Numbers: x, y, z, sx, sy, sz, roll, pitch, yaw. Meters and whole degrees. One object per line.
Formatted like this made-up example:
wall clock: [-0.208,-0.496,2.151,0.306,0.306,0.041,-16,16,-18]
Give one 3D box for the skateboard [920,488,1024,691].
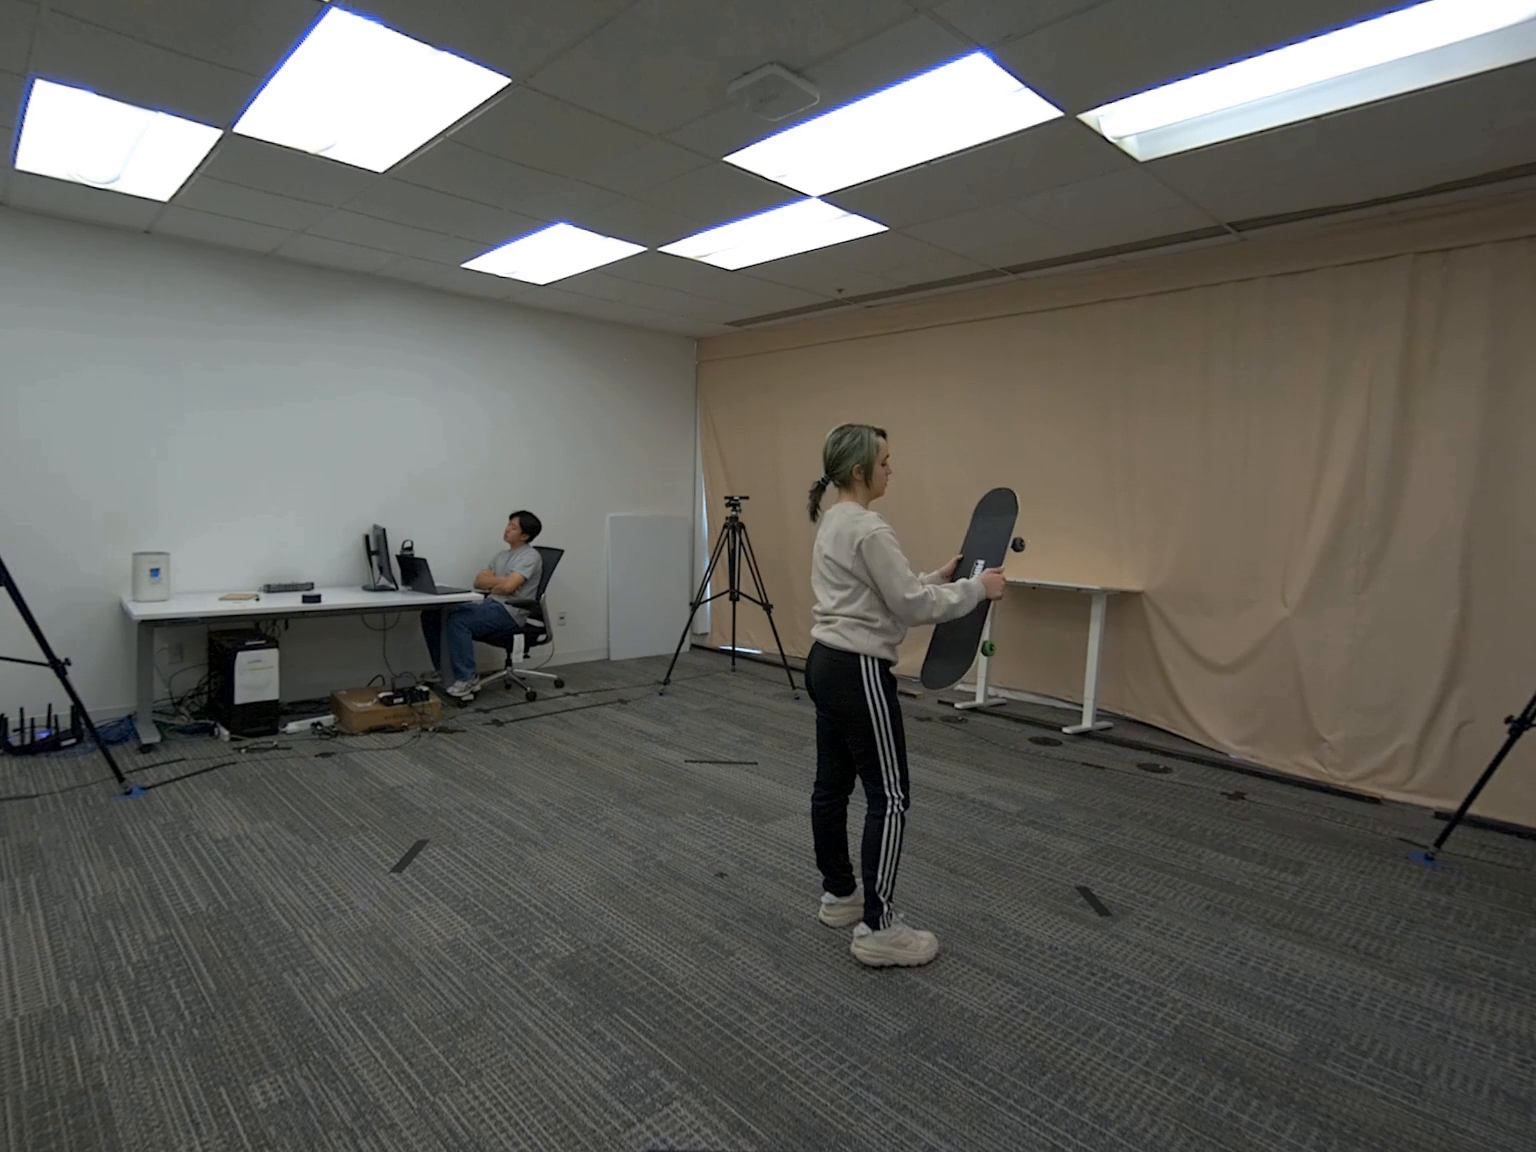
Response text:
skateboard: [0.675,0.050,2.721,0.197,0.791,0.107,-8,-40,48]
